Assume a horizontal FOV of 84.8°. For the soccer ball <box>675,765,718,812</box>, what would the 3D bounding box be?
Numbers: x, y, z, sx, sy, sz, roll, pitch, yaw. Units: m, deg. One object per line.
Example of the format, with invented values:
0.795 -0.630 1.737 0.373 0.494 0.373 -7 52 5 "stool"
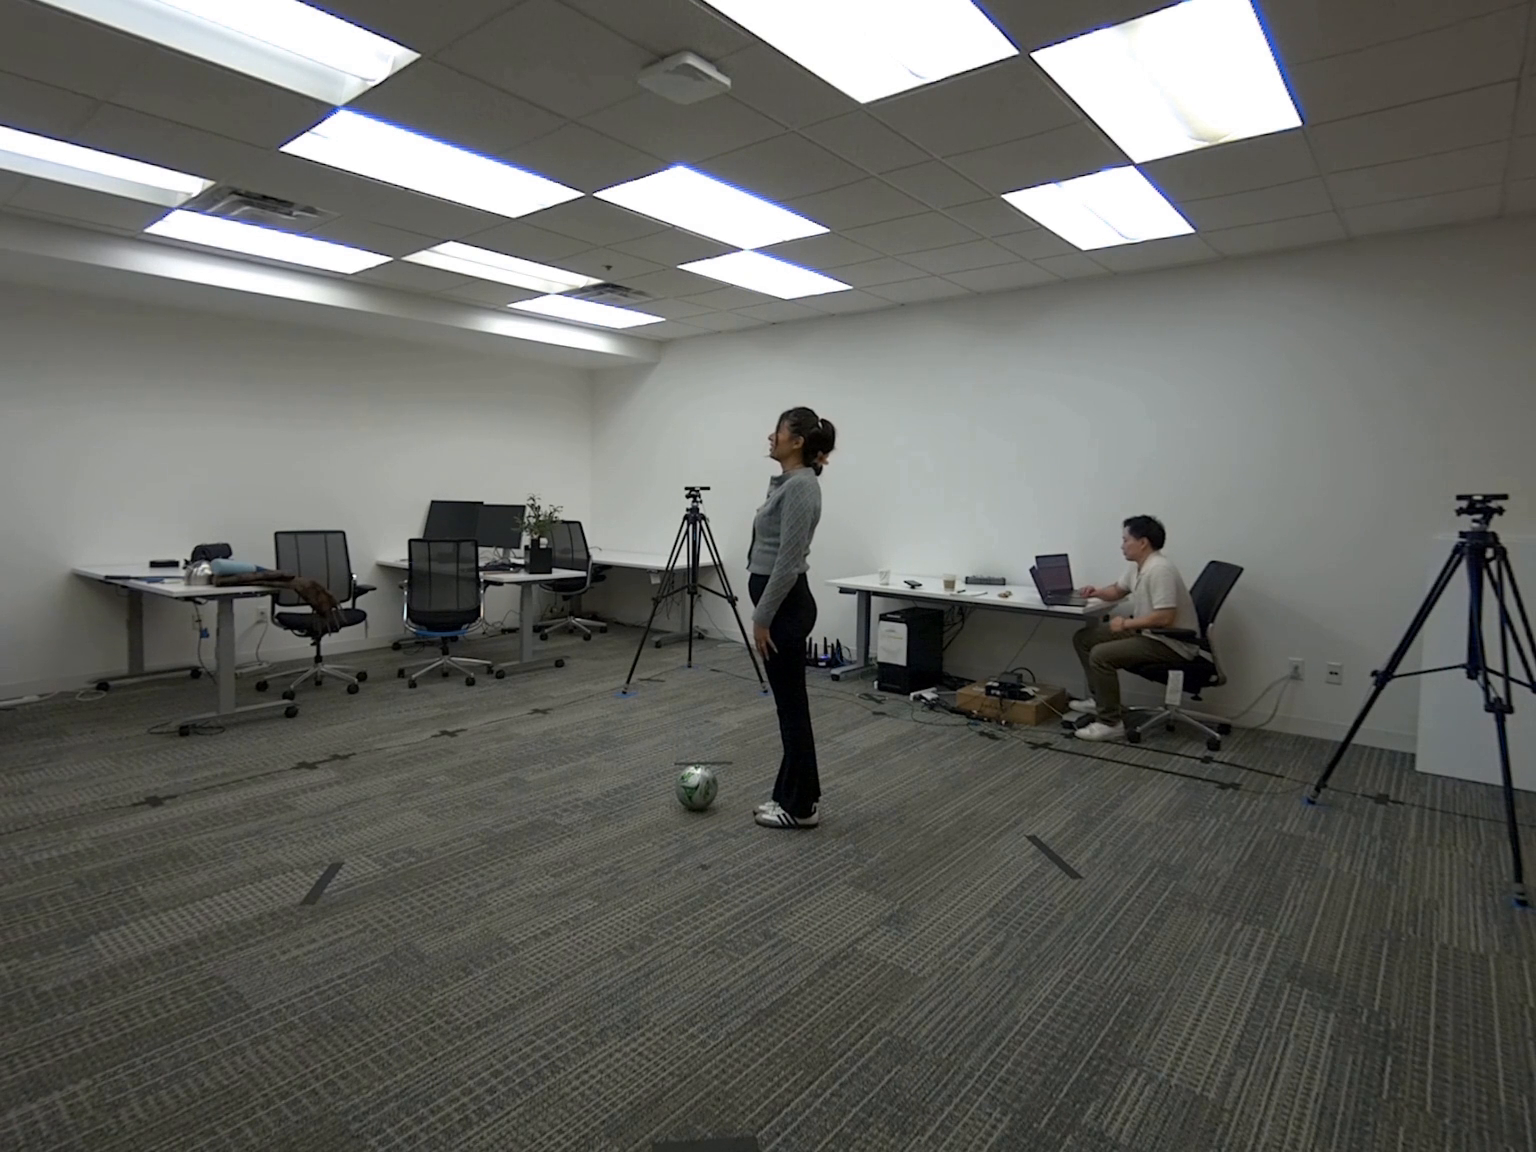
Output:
-0.320 0.913 3.691 0.187 0.187 0.188 1 4 -2 "soccer ball"
